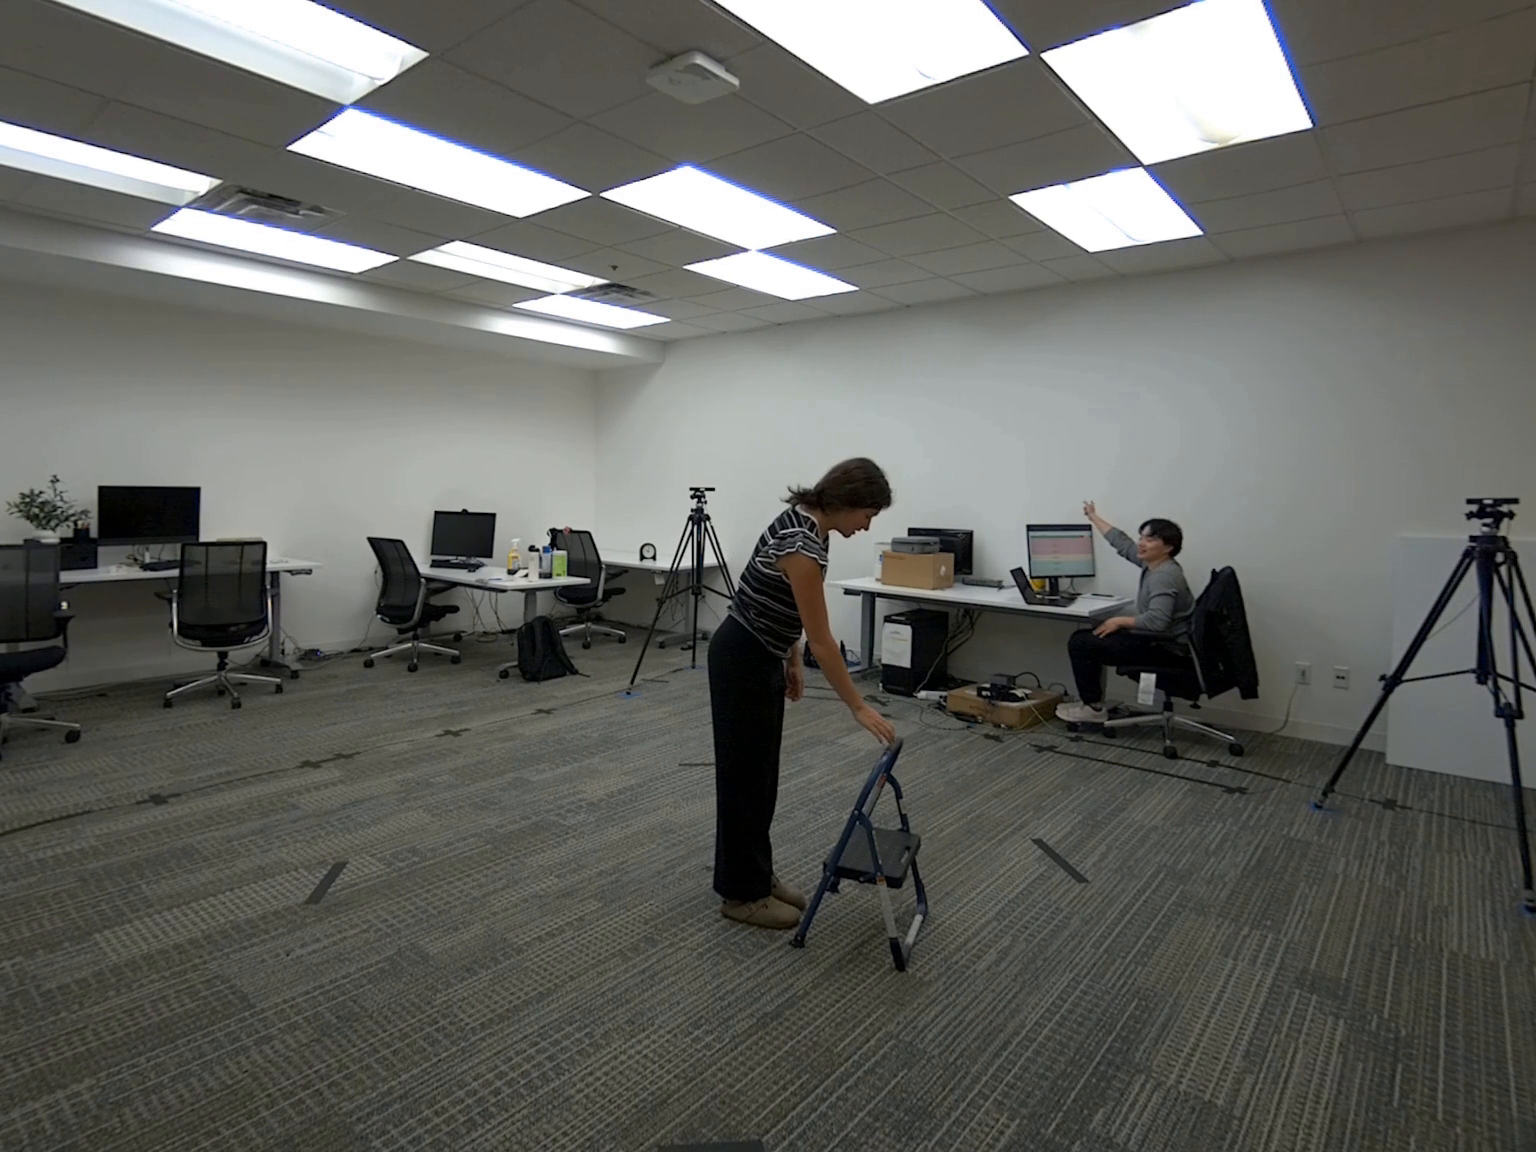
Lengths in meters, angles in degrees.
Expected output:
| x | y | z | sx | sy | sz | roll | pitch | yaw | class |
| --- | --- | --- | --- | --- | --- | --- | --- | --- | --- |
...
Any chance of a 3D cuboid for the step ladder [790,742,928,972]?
| x | y | z | sx | sy | sz | roll | pitch | yaw | class |
| --- | --- | --- | --- | --- | --- | --- | --- | --- | --- |
| 0.305 | 0.819 | 2.700 | 0.357 | 0.604 | 0.422 | 3 | 4 | 21 | step ladder |
